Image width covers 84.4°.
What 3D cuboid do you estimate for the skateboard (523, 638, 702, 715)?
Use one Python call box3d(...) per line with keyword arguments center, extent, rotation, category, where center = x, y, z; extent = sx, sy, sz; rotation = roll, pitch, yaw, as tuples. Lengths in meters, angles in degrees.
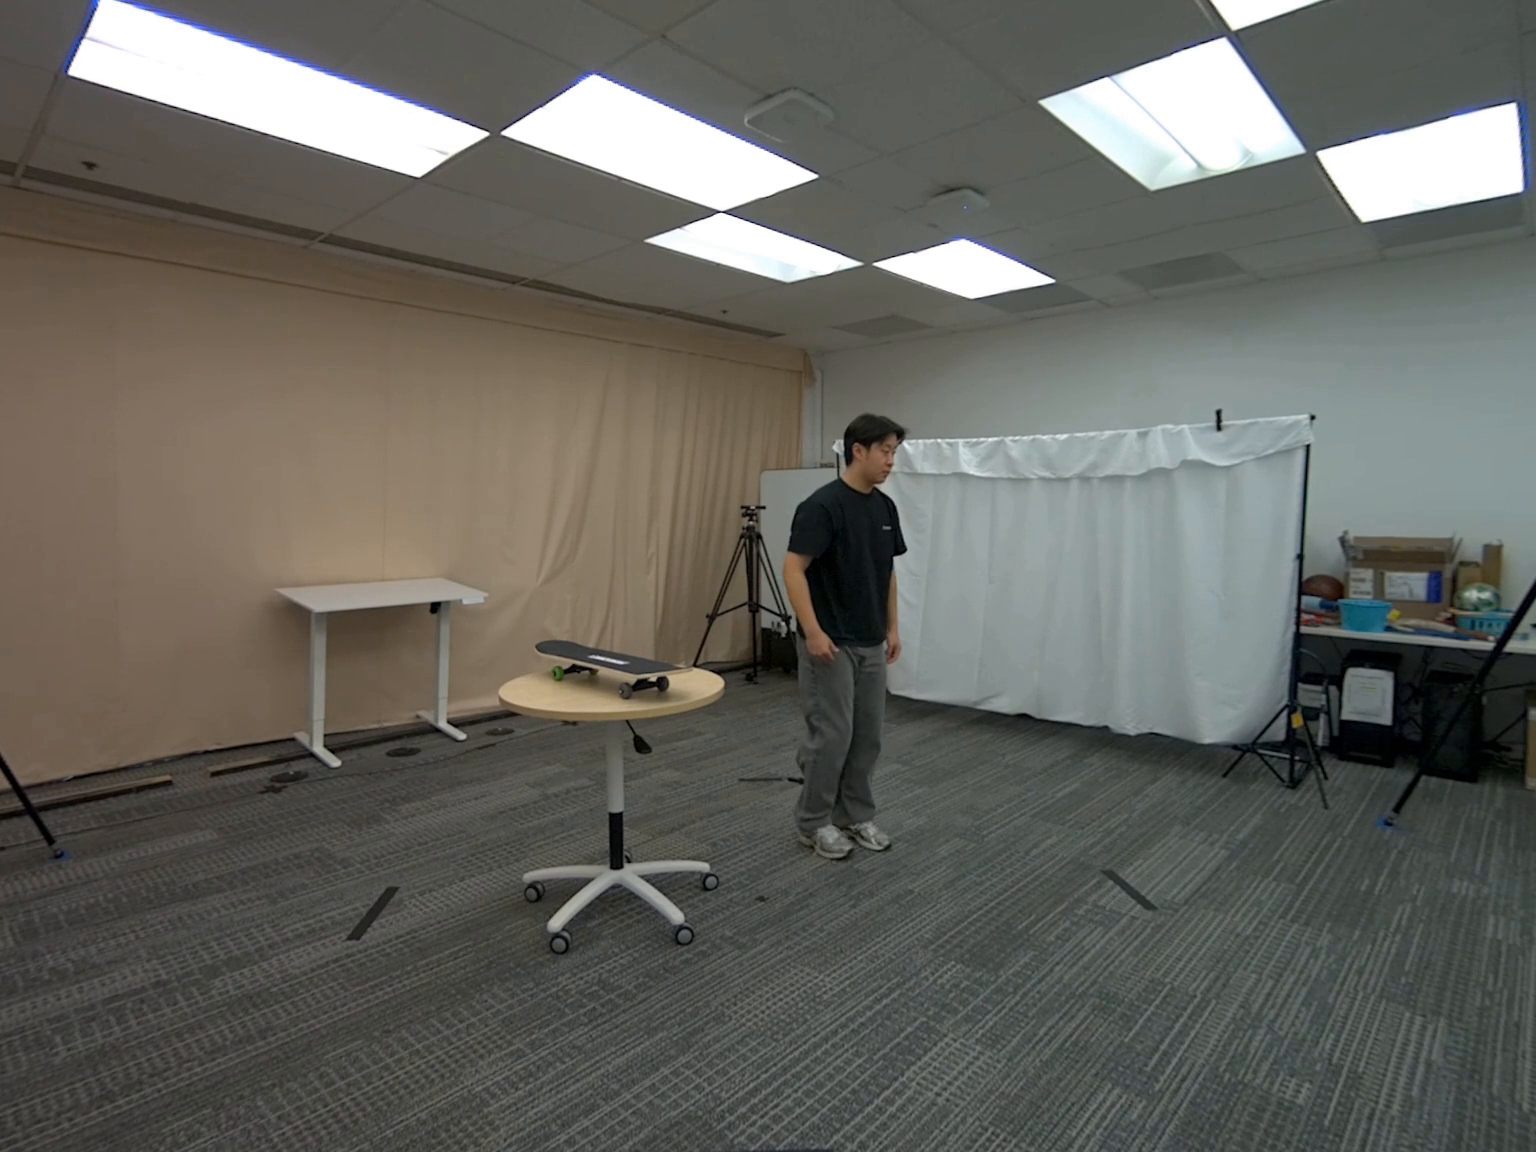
box3d(center=(-0.554, 0.323, 2.876), extent=(0.188, 0.110, 0.812), rotation=(-7, 8, -42), category="skateboard")
